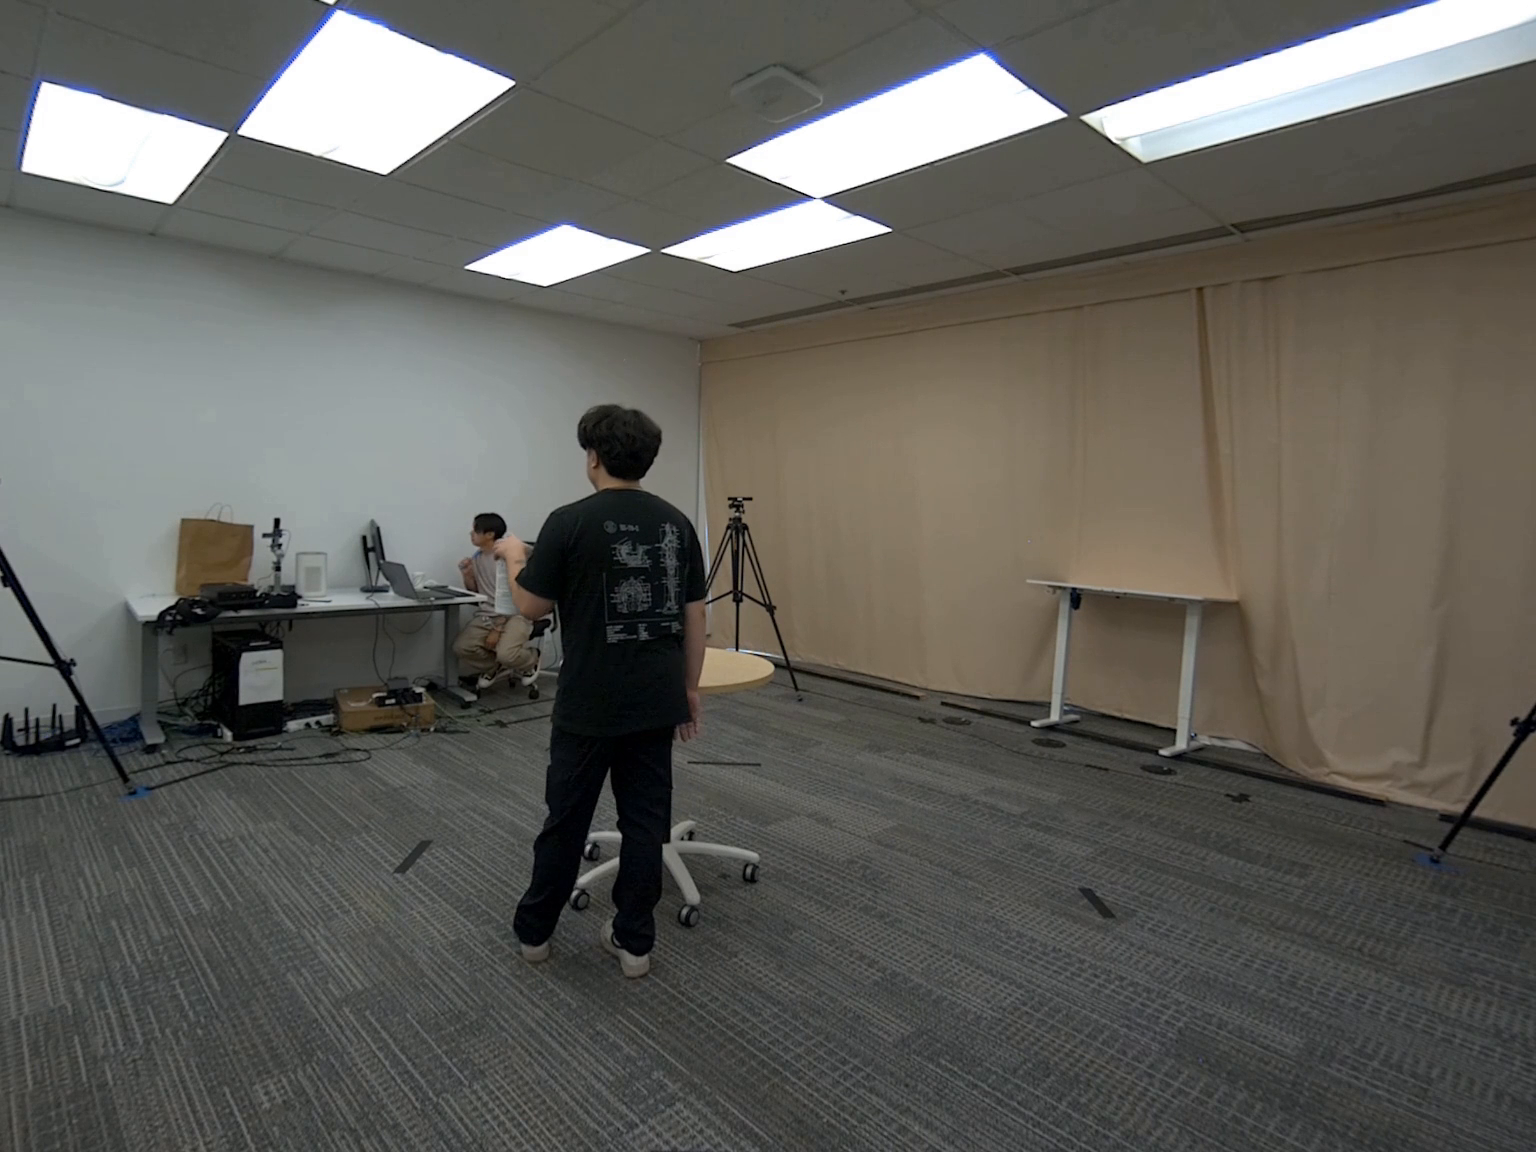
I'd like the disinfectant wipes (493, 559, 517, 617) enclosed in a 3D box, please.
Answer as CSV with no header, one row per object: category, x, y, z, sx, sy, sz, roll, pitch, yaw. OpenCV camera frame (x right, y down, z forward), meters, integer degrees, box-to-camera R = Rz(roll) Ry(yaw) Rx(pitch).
disinfectant wipes,-0.810,0.018,2.675,0.118,0.217,0.118,3,3,-2
